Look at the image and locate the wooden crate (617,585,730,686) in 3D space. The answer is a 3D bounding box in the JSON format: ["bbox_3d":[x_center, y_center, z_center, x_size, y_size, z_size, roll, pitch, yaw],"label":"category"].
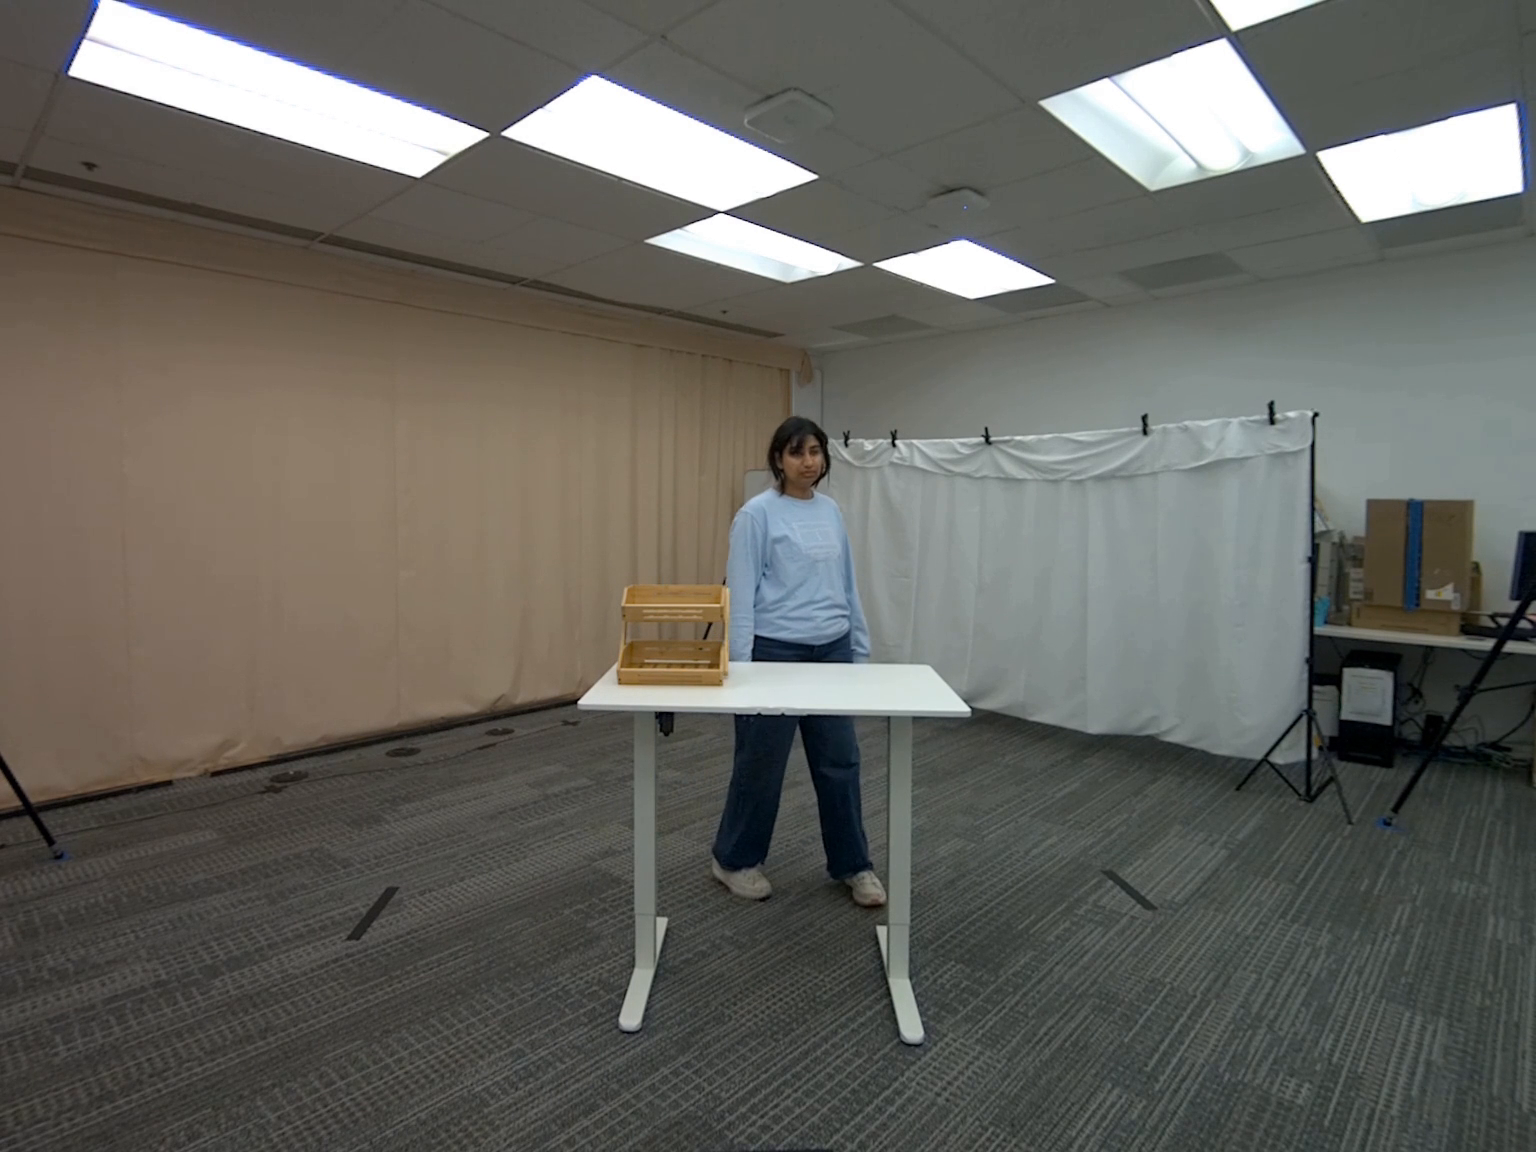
[{"bbox_3d":[-0.280,0.166,2.502,0.325,0.273,0.301,0,2,2],"label":"wooden crate"}]
